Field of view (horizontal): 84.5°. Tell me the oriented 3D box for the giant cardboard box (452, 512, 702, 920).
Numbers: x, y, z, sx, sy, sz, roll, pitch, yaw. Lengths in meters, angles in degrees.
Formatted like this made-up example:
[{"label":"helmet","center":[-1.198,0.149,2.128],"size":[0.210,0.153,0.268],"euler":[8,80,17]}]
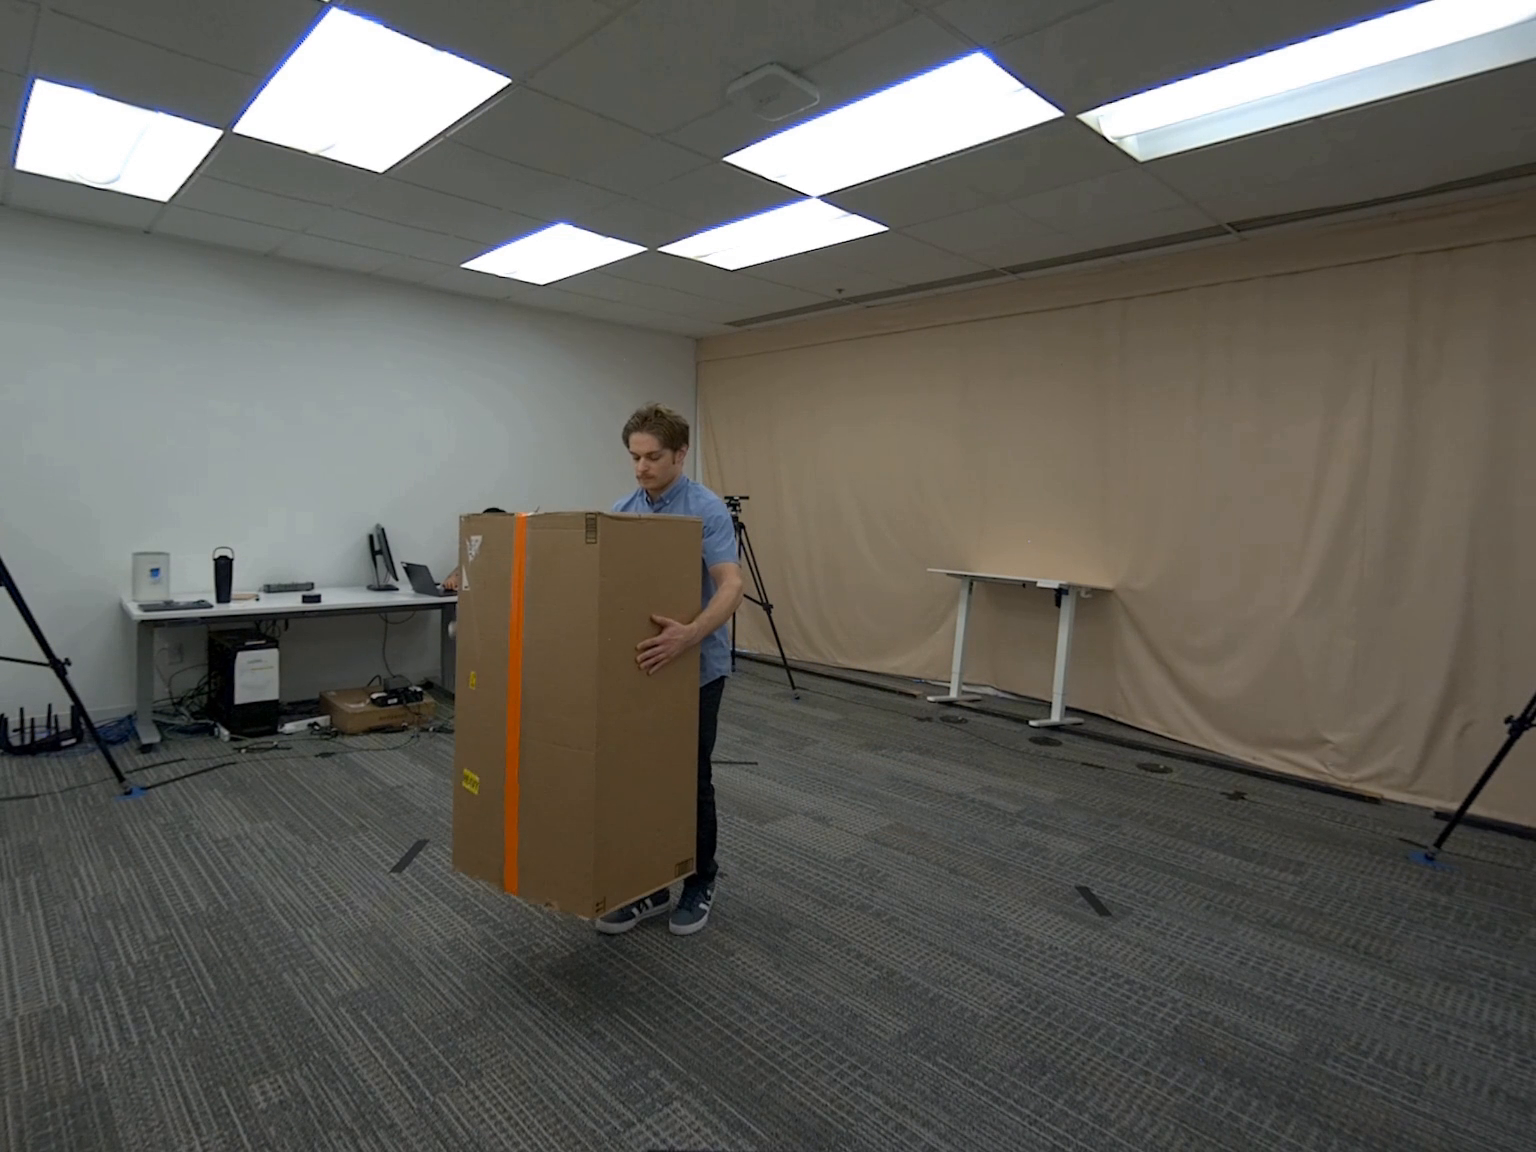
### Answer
[{"label":"giant cardboard box","center":[-0.559,0.345,2.411],"size":[0.591,1.026,0.416],"euler":[1,-1,37]}]
